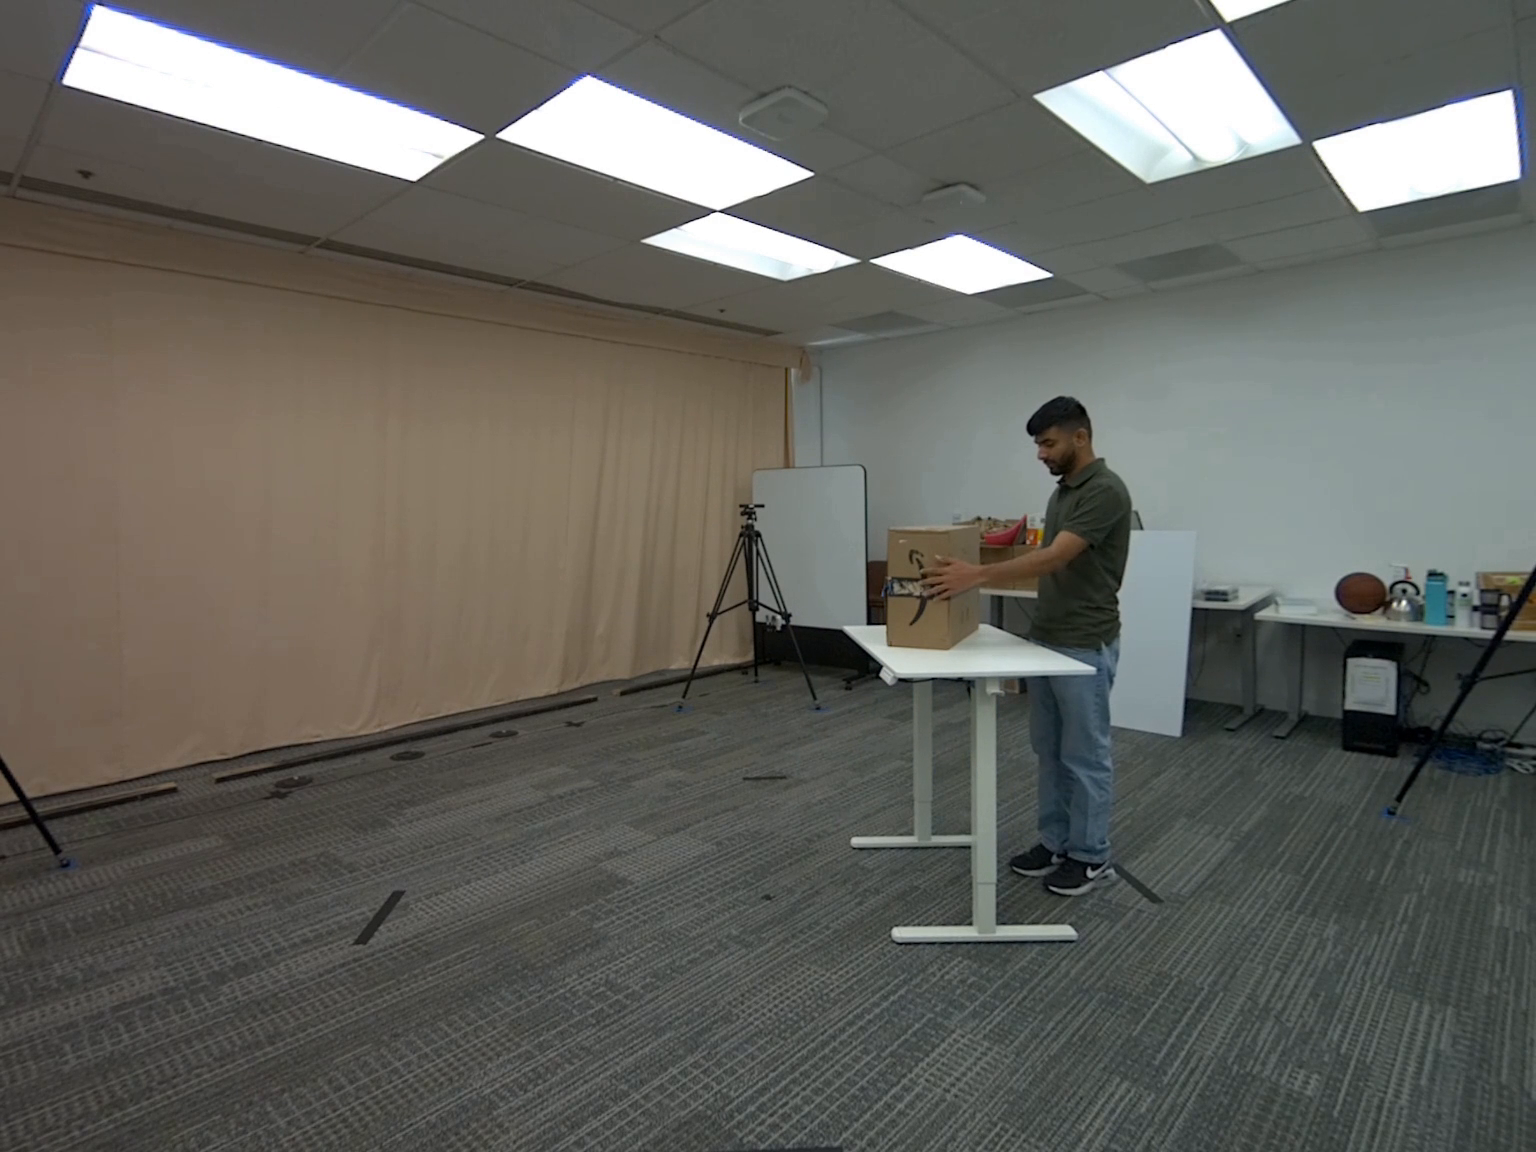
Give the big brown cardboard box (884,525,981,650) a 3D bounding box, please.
[{"bbox_3d":[0.634,0.027,3.161,0.239,0.416,0.575,2,4,26],"label":"big brown cardboard box"}]
